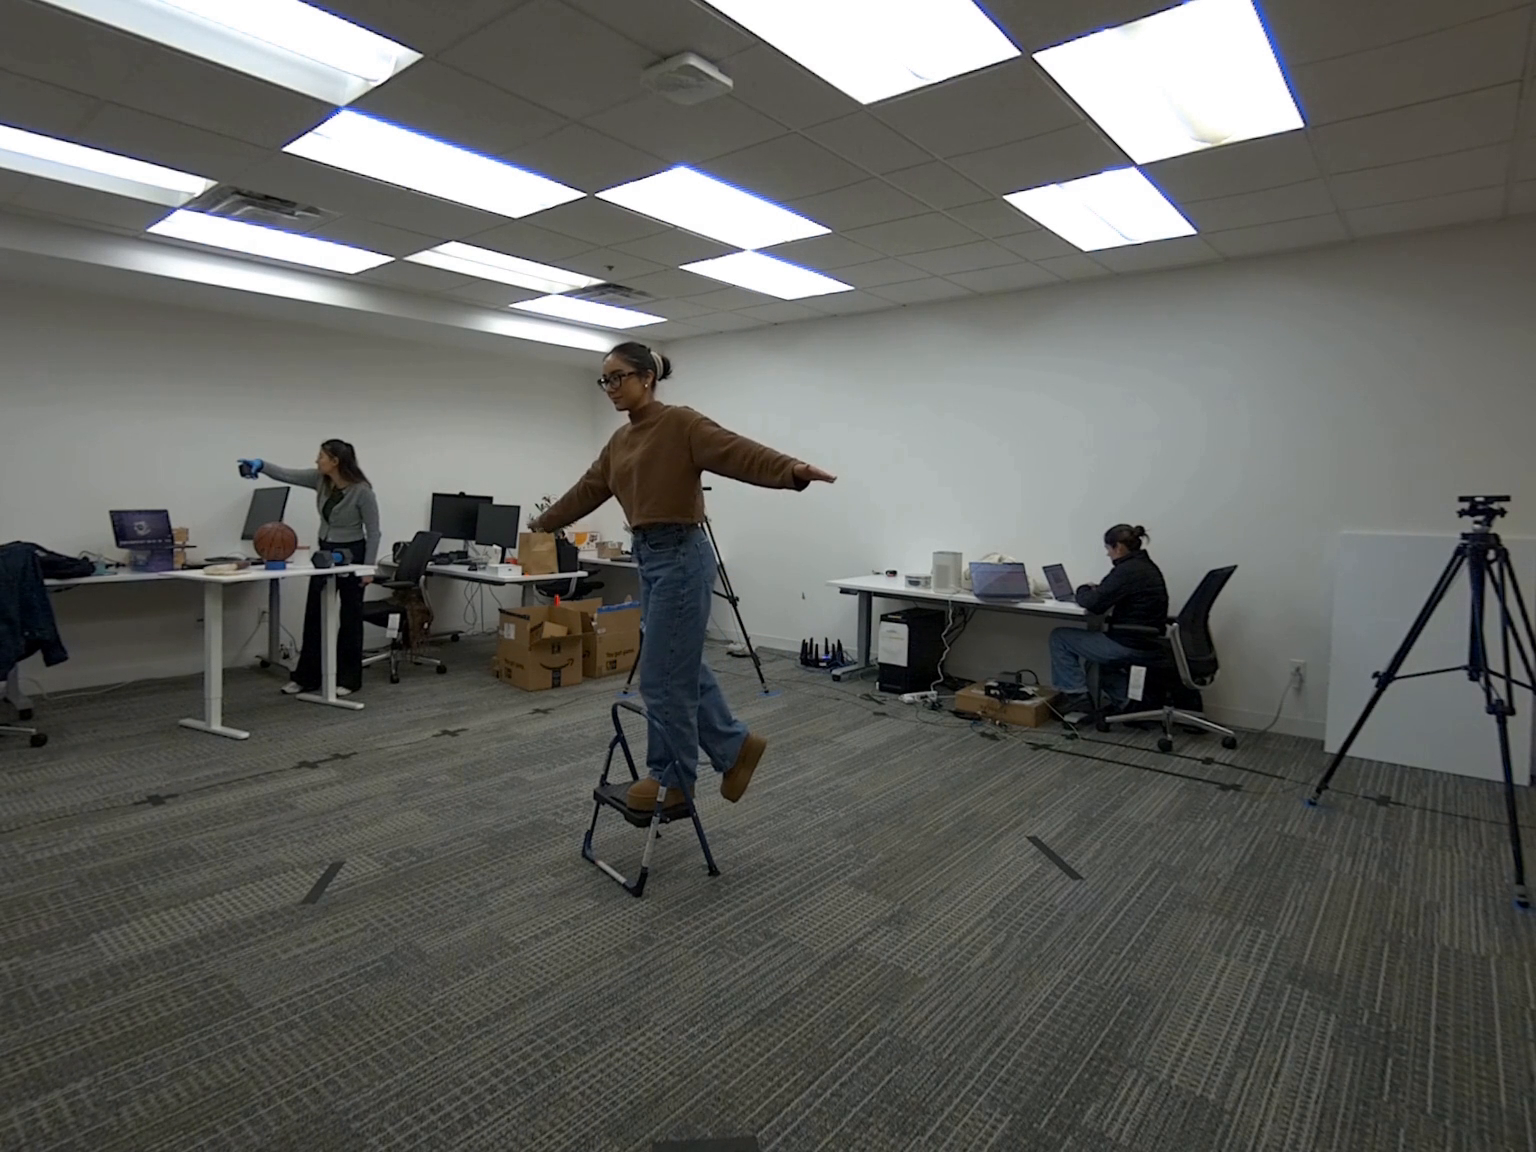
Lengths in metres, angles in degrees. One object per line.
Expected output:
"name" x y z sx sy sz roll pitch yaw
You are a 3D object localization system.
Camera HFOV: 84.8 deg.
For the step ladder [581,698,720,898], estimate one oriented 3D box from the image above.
"step ladder" -0.448 0.760 3.118 0.339 0.604 0.445 -2 5 -39
